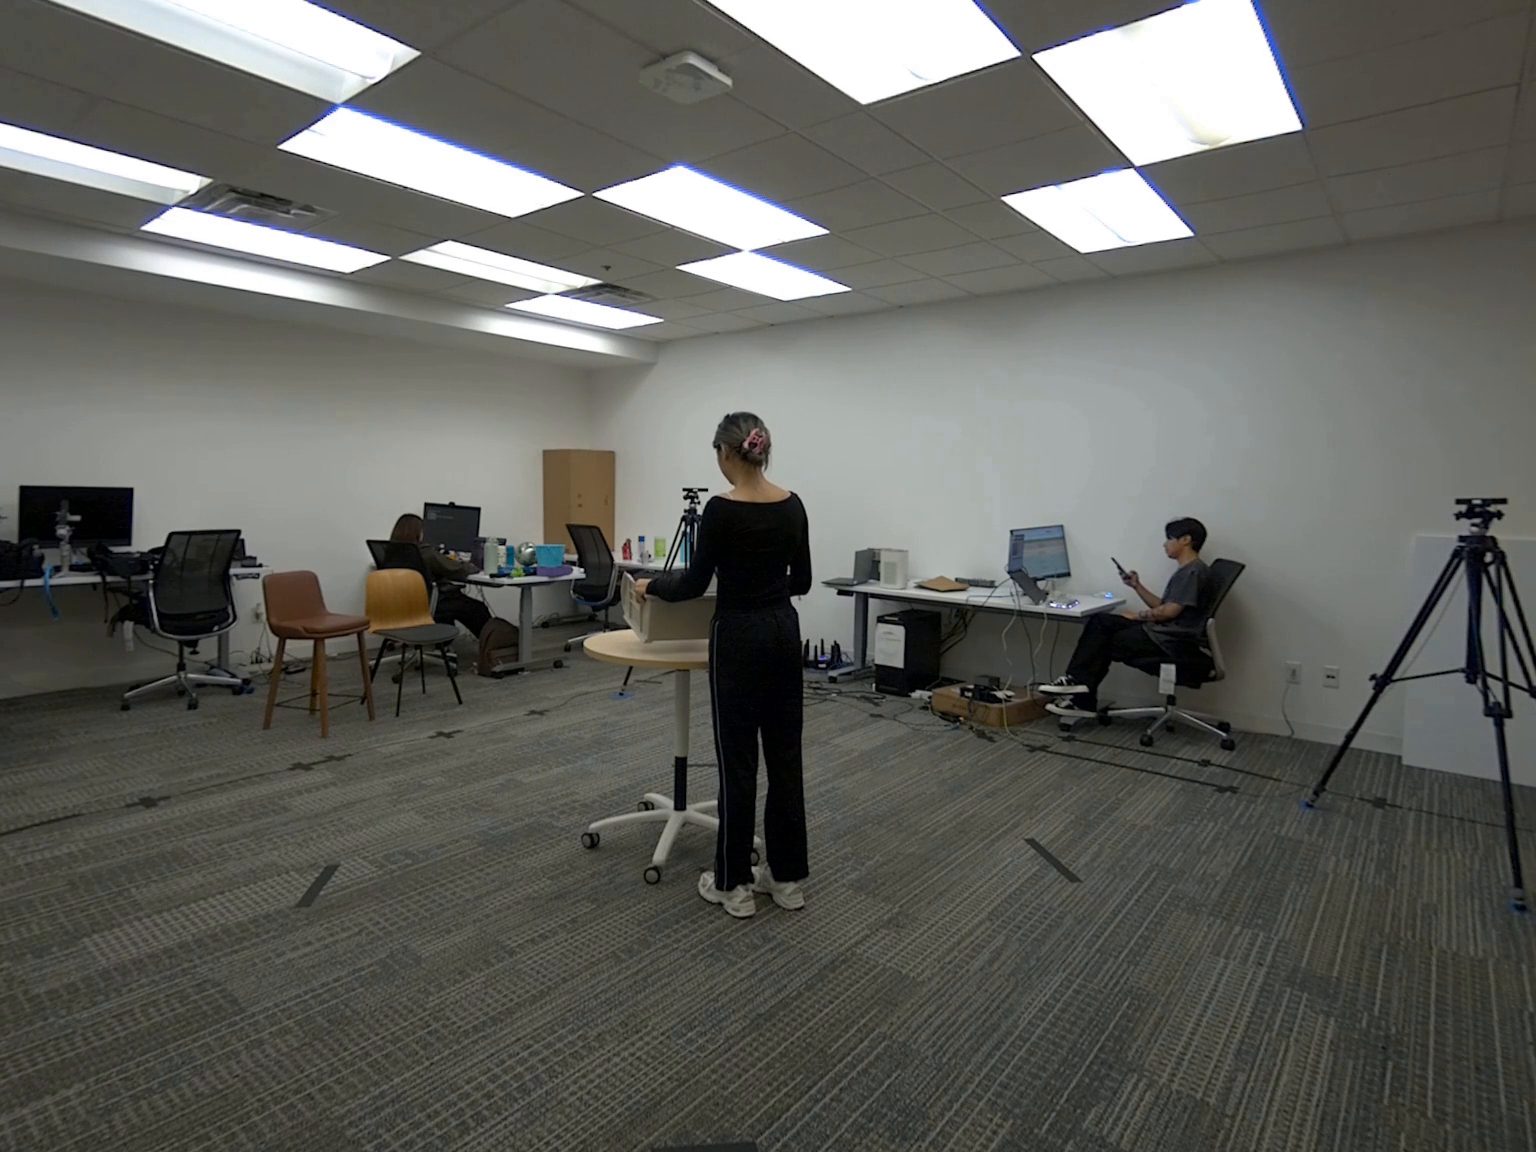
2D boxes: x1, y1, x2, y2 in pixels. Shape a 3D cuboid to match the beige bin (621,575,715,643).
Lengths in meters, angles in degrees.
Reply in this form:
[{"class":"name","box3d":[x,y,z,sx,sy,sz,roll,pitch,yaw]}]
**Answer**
[{"class":"beige bin","box3d":[-0.328,0.103,3.229,0.413,0.187,0.390,0,14,-22]}]
